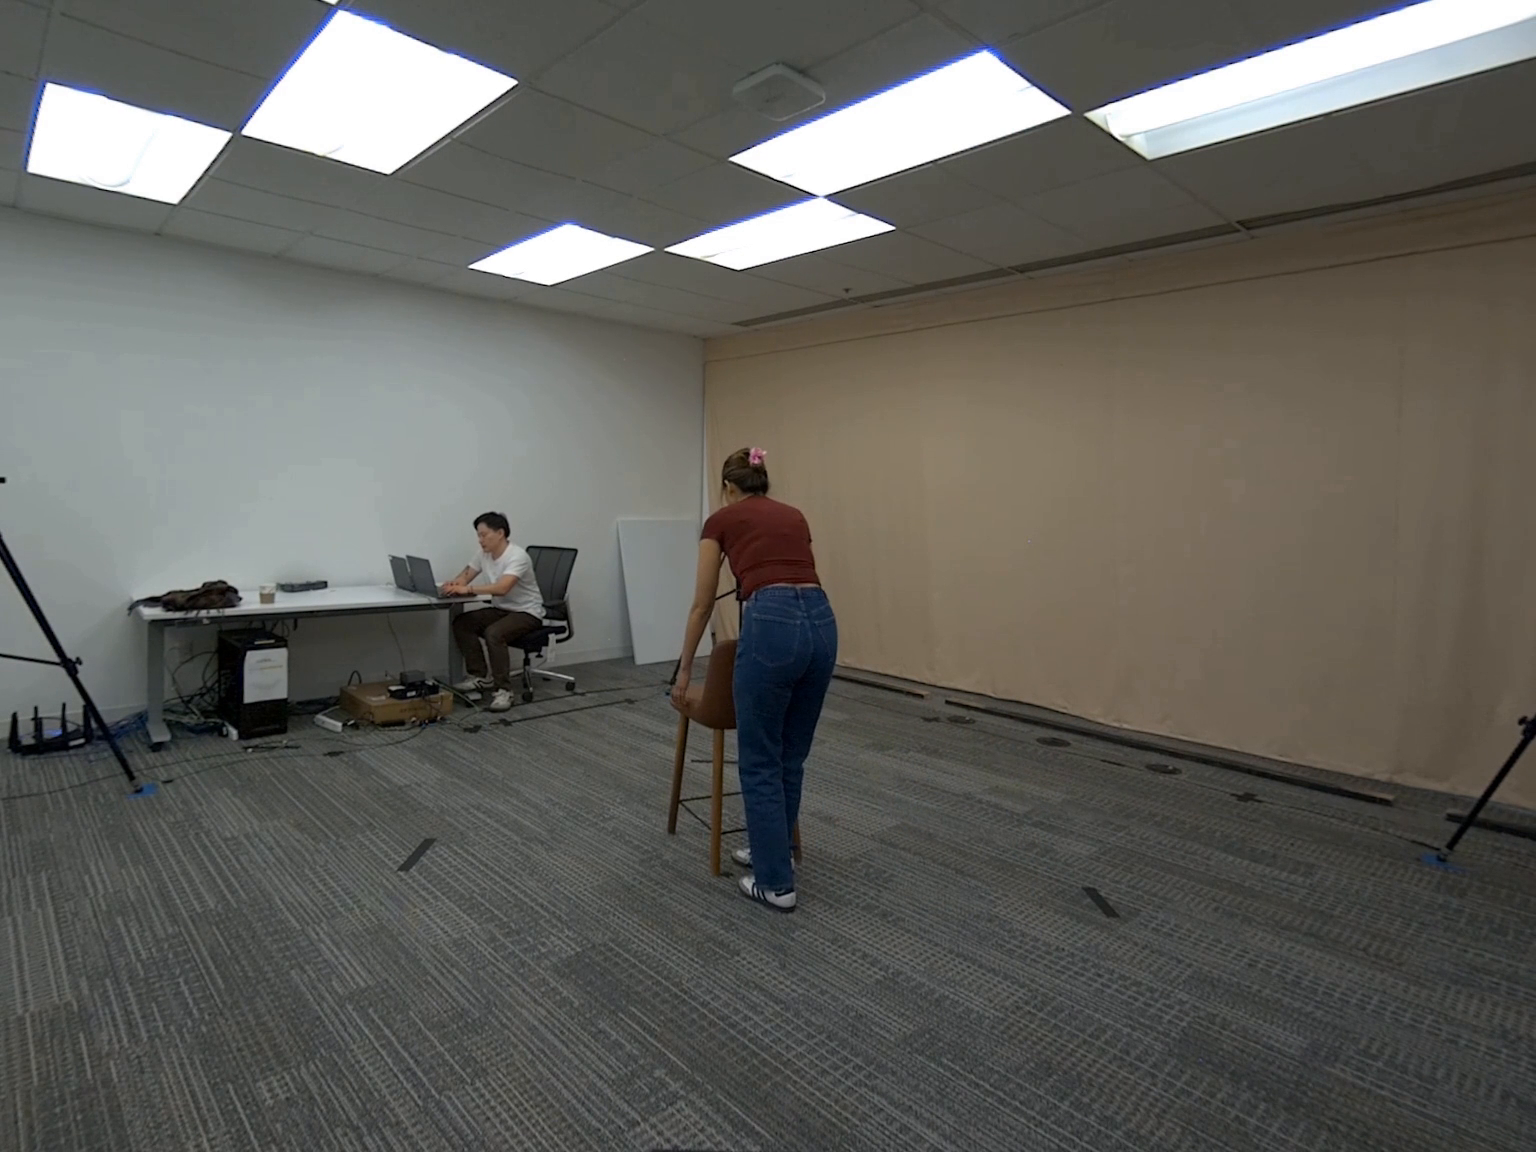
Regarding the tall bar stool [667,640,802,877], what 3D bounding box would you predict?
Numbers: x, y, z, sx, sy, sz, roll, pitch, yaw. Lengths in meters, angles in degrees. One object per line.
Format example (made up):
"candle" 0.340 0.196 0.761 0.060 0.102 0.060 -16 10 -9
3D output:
"tall bar stool" -0.128 0.646 3.331 0.448 0.886 0.478 -1 6 -26
